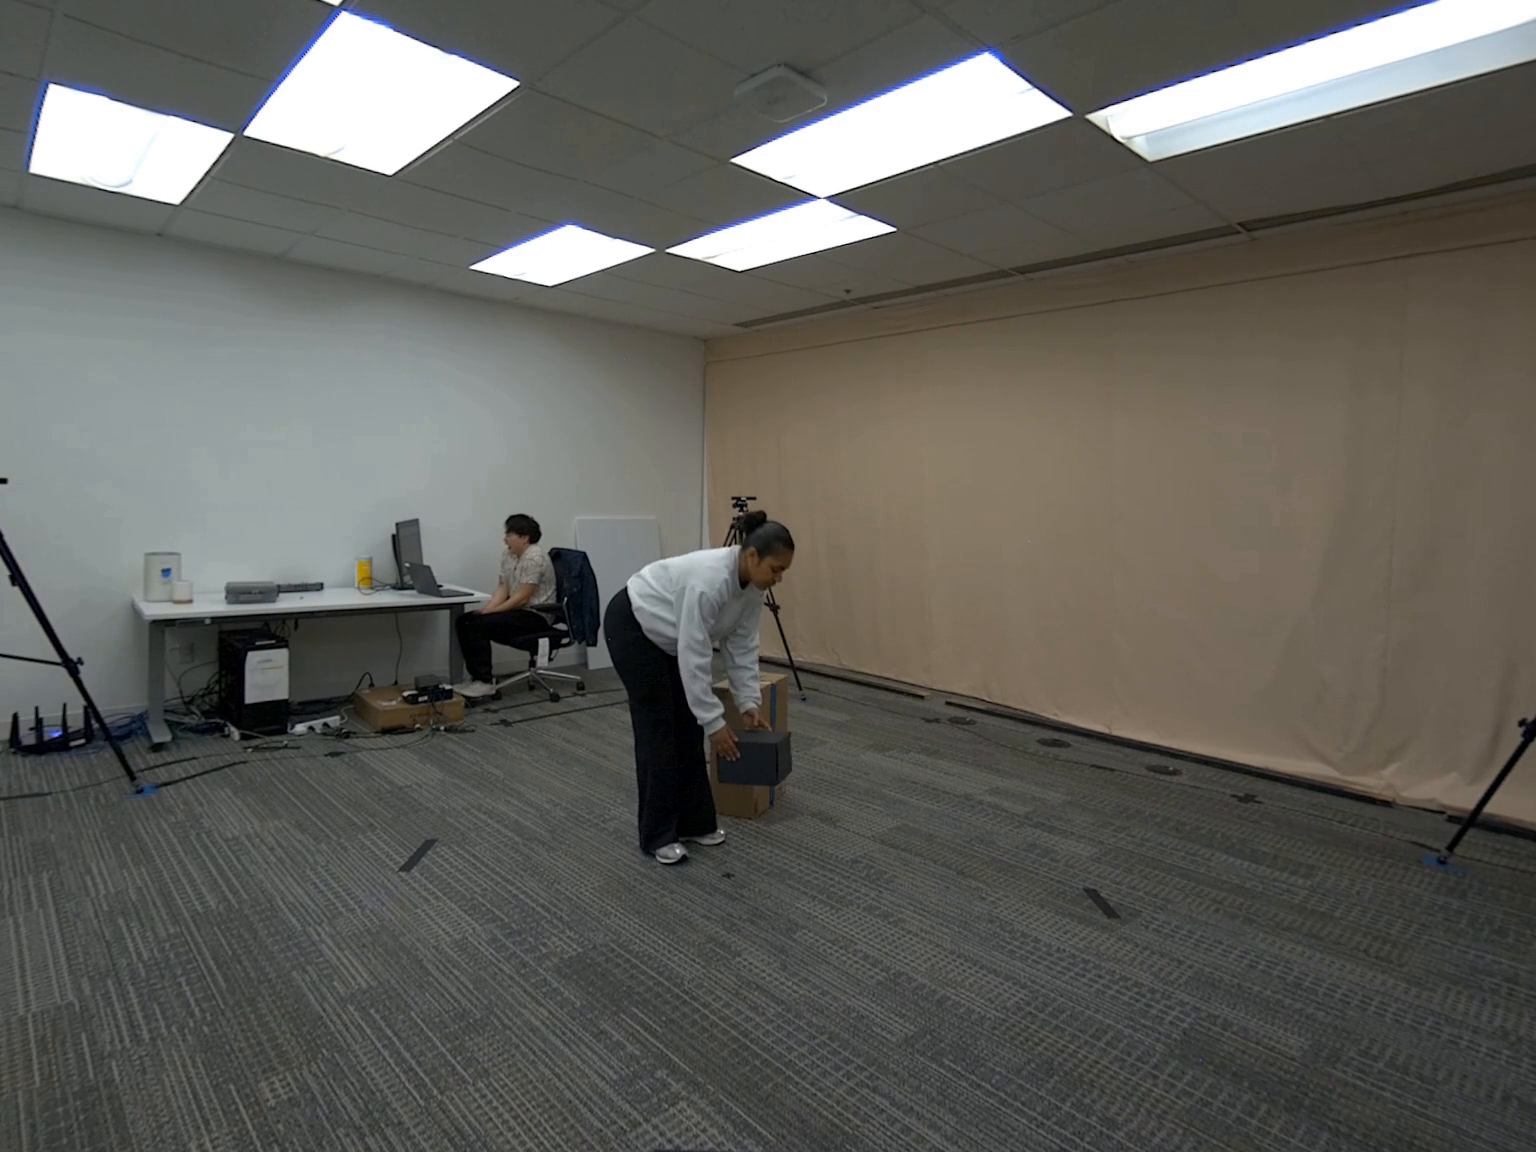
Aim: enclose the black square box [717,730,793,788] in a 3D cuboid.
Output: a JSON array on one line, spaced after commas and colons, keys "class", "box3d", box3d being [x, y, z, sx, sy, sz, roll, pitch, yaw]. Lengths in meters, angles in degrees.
[{"class": "black square box", "box3d": [-0.056, 0.671, 3.140, 0.231, 0.156, 0.214, 0, 1, 18]}]
